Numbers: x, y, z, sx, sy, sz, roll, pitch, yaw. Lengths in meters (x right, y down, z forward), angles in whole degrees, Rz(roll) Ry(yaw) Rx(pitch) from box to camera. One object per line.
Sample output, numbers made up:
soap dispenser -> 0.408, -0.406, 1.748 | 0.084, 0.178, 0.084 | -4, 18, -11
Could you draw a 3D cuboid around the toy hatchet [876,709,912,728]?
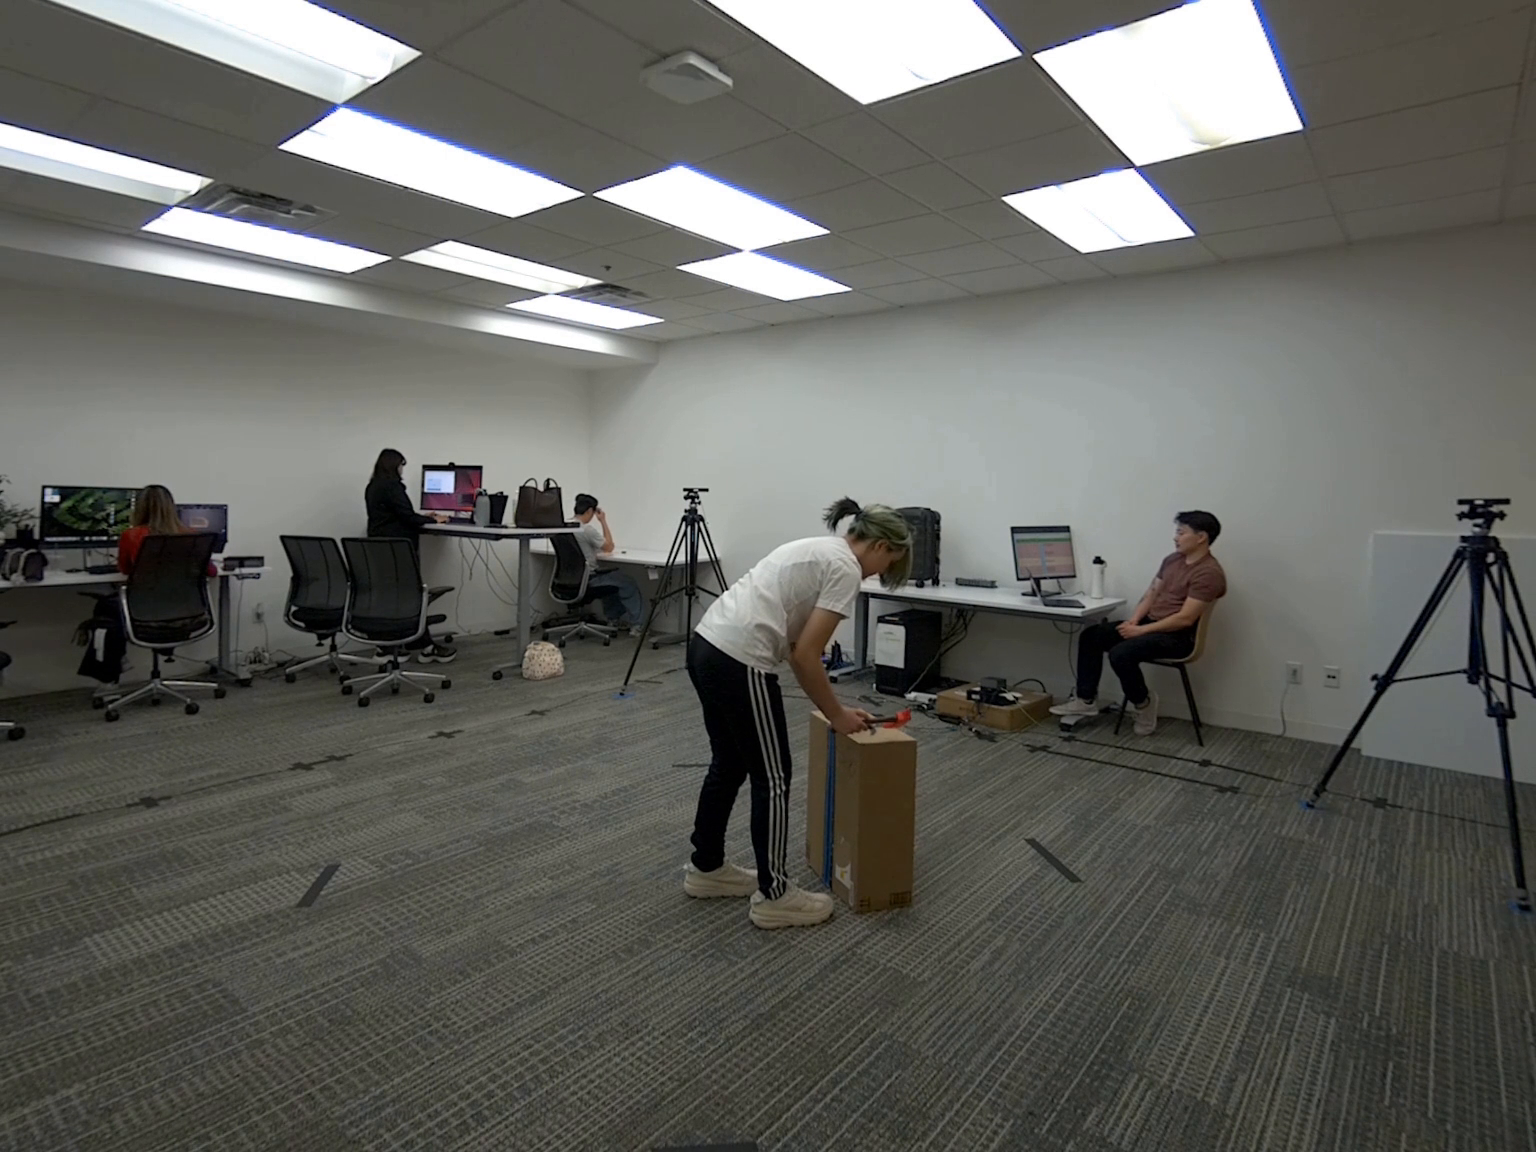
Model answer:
toy hatchet -> 0.324, 0.494, 2.801 | 0.270, 0.030, 0.126 | -11, -35, 2
